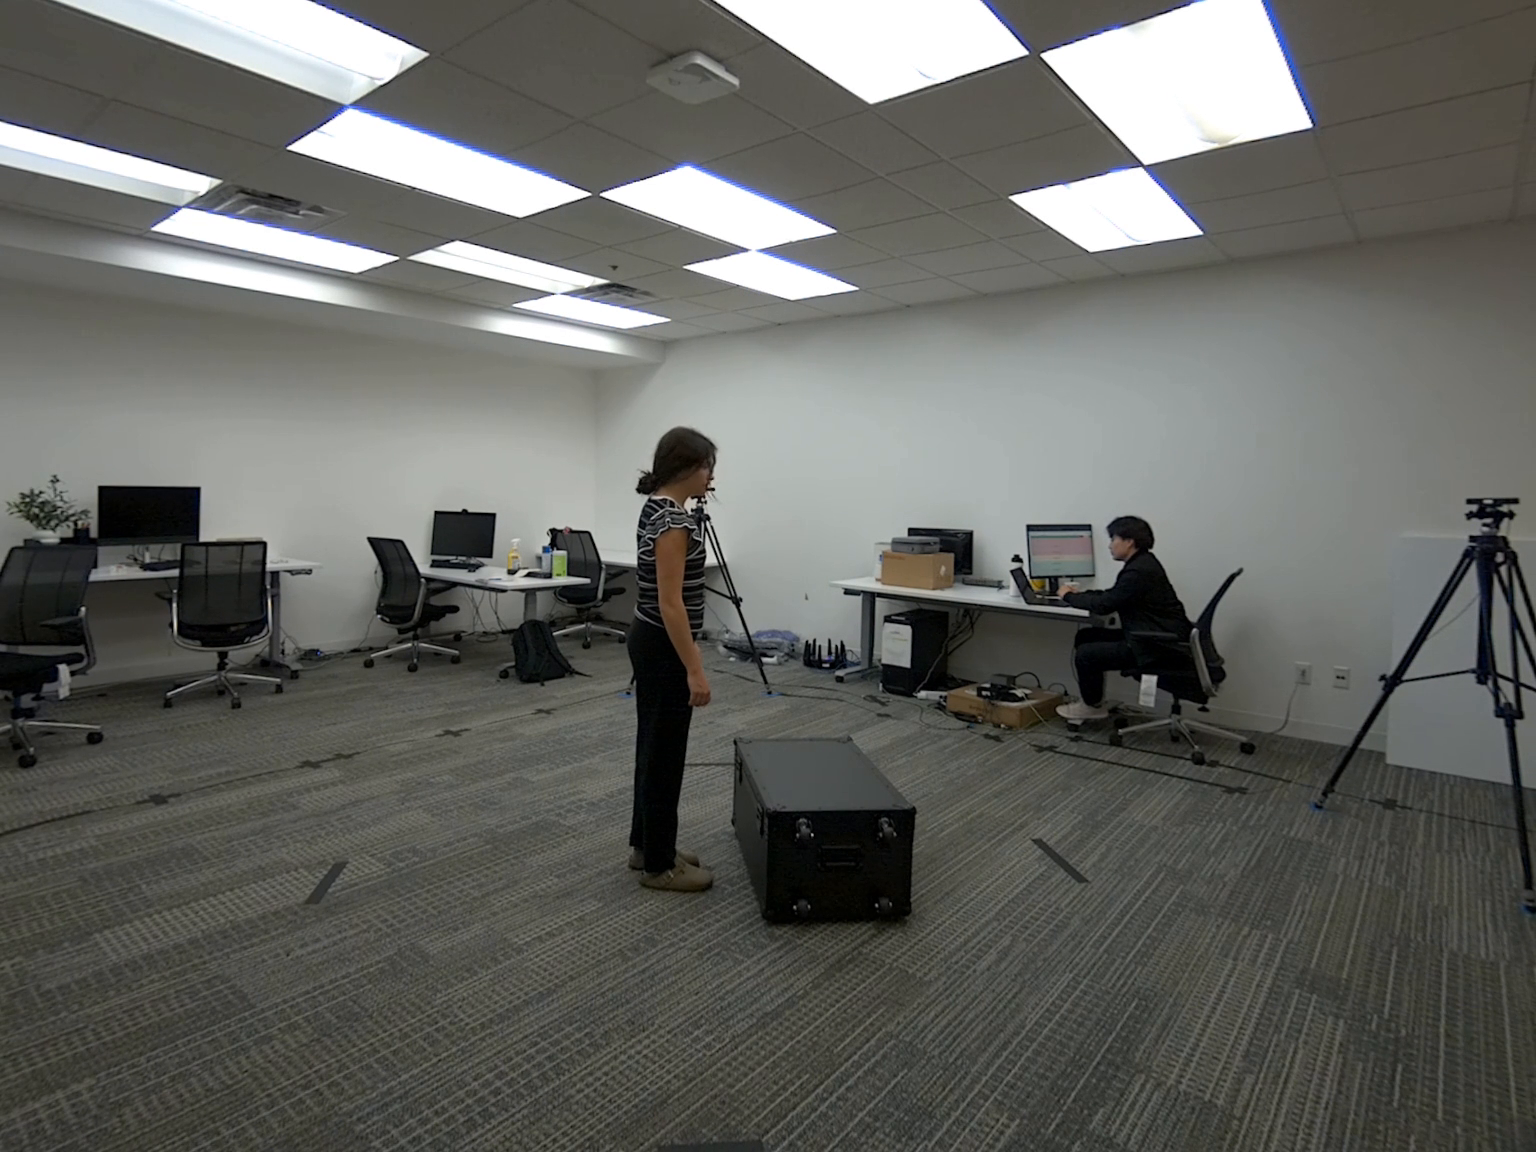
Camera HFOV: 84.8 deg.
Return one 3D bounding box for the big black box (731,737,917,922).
[{"bbox_3d":[0.160,0.886,3.065,0.516,0.395,0.873,0,5,-10],"label":"big black box"}]
